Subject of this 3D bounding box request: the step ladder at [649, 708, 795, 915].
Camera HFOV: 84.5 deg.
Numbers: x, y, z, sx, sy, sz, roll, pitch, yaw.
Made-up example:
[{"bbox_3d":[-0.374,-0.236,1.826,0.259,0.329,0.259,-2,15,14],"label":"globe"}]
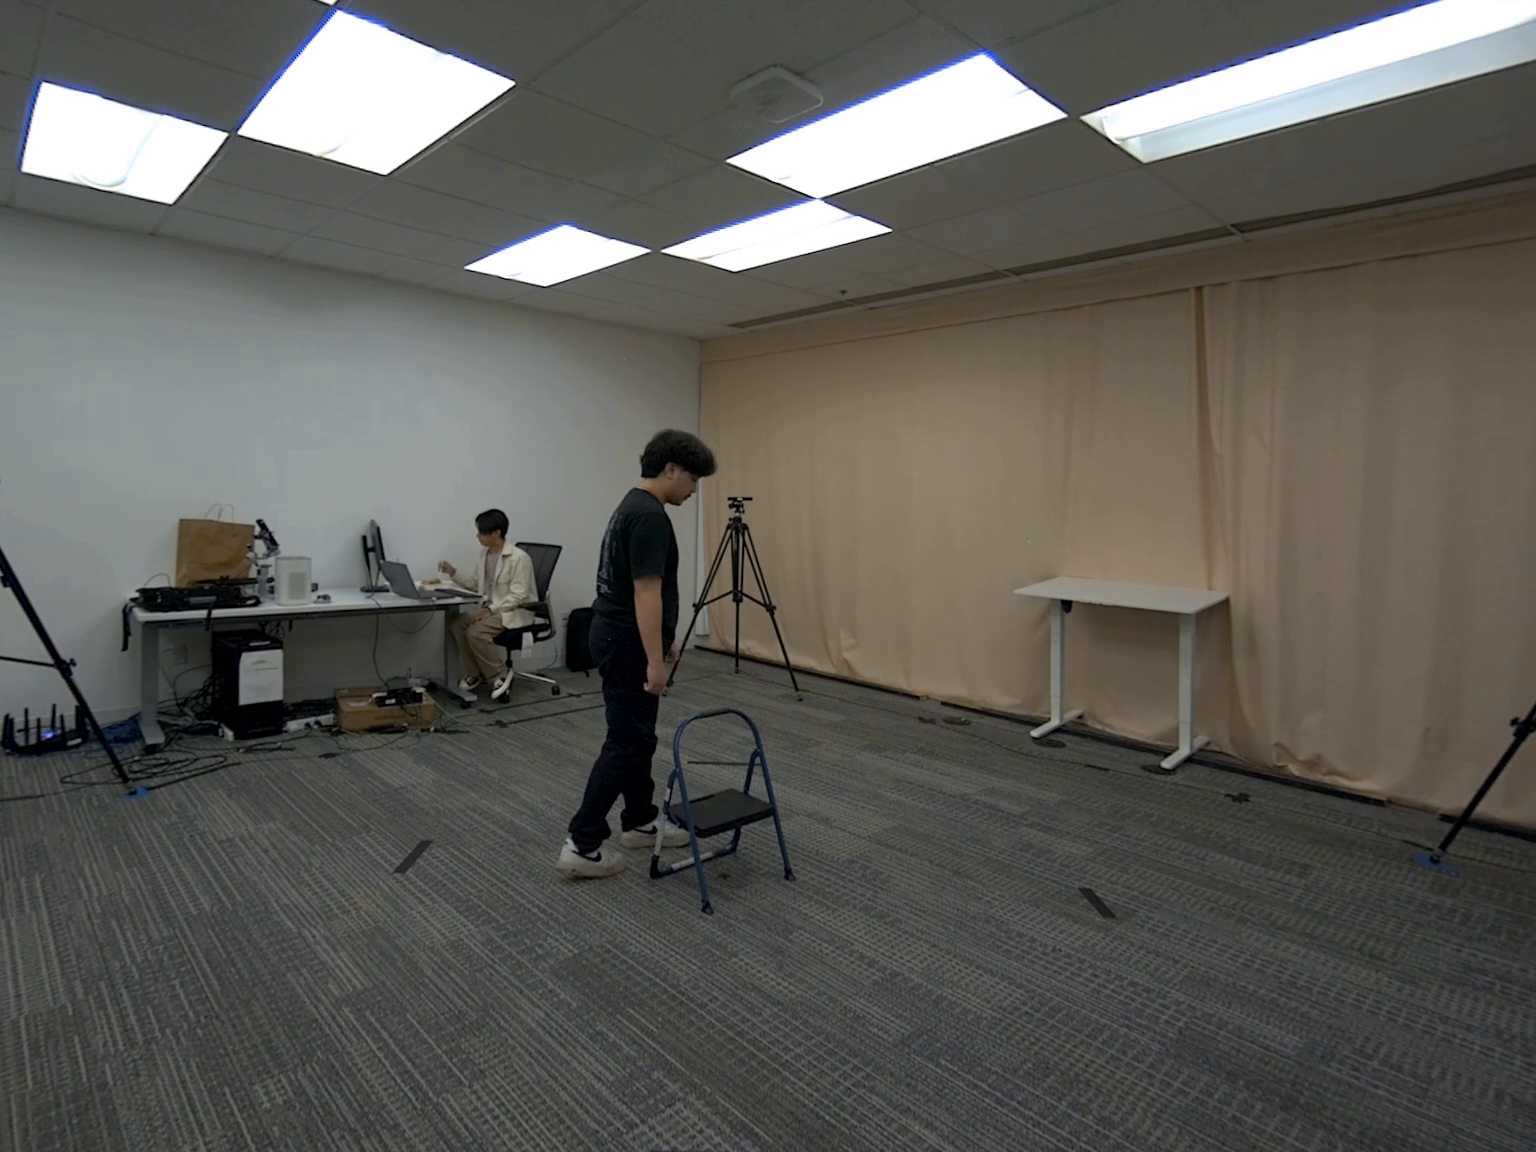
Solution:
[{"bbox_3d":[-0.167,0.809,3.062,0.421,0.604,0.358,-2,5,-43],"label":"step ladder"}]
